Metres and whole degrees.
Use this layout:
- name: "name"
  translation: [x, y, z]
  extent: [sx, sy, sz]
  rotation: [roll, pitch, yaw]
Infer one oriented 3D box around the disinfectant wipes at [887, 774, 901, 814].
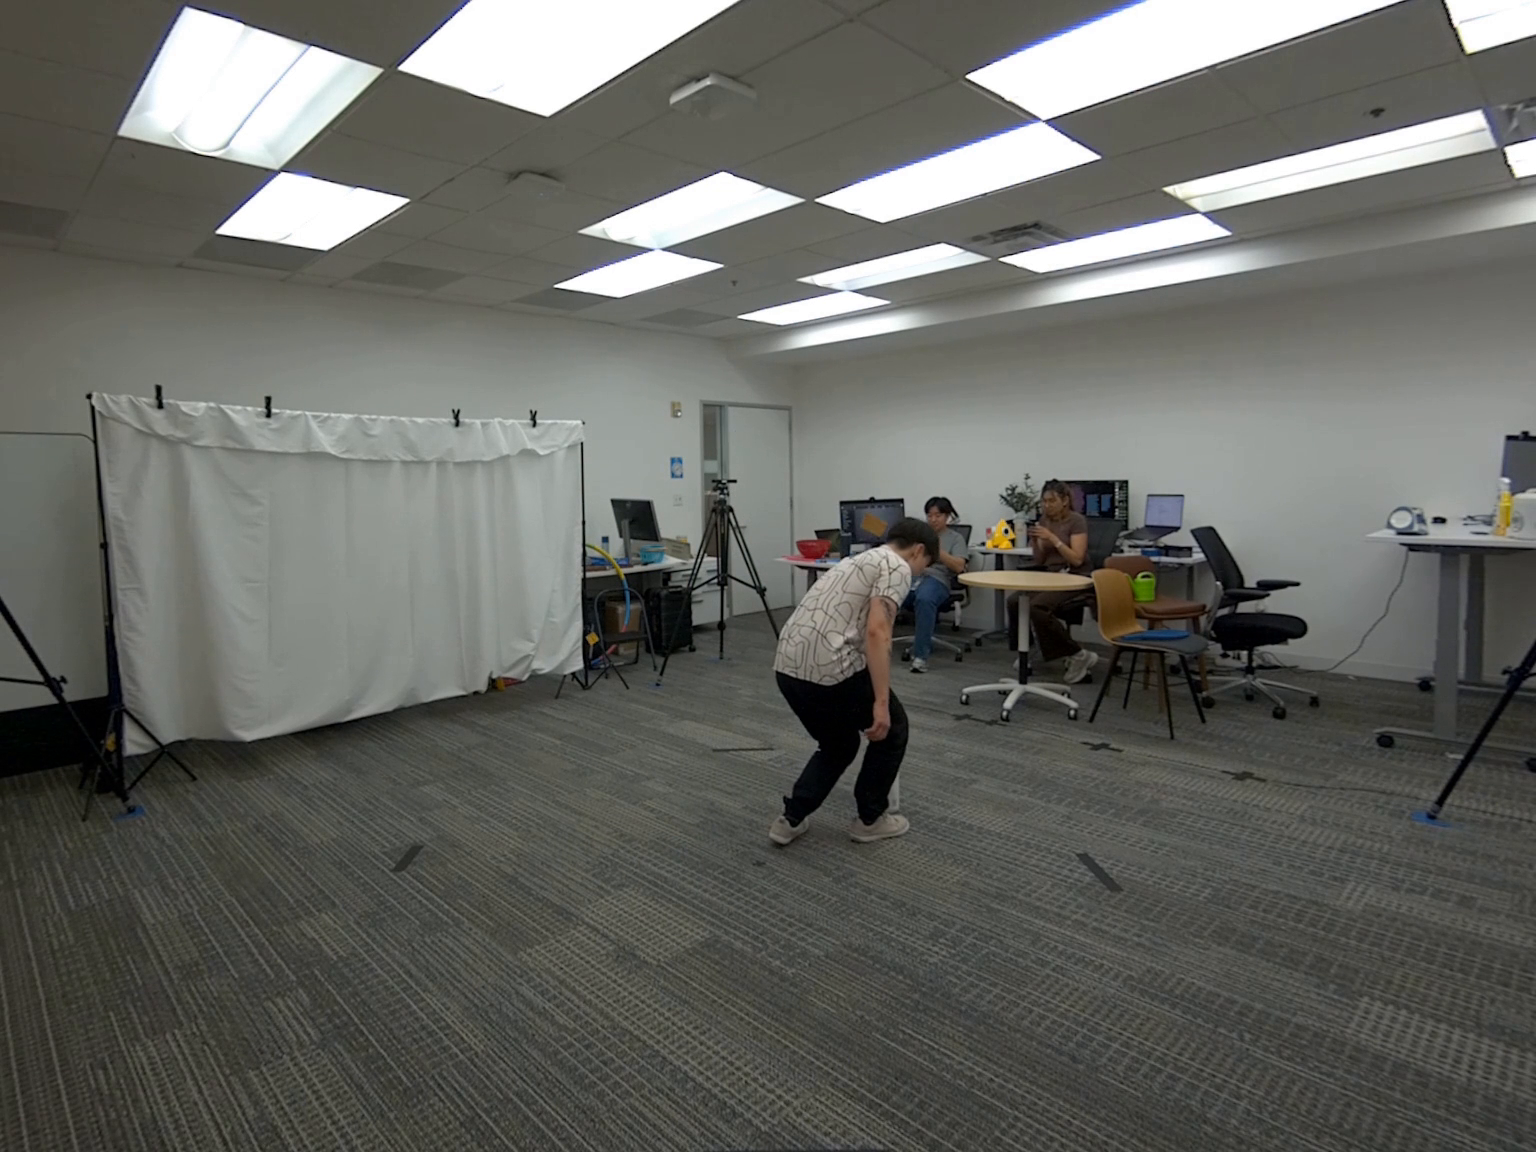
- name: "disinfectant wipes"
  translation: [0.507, 0.883, 3.608]
  extent: [0.118, 0.217, 0.118]
  rotation: [-2, 2, -2]
